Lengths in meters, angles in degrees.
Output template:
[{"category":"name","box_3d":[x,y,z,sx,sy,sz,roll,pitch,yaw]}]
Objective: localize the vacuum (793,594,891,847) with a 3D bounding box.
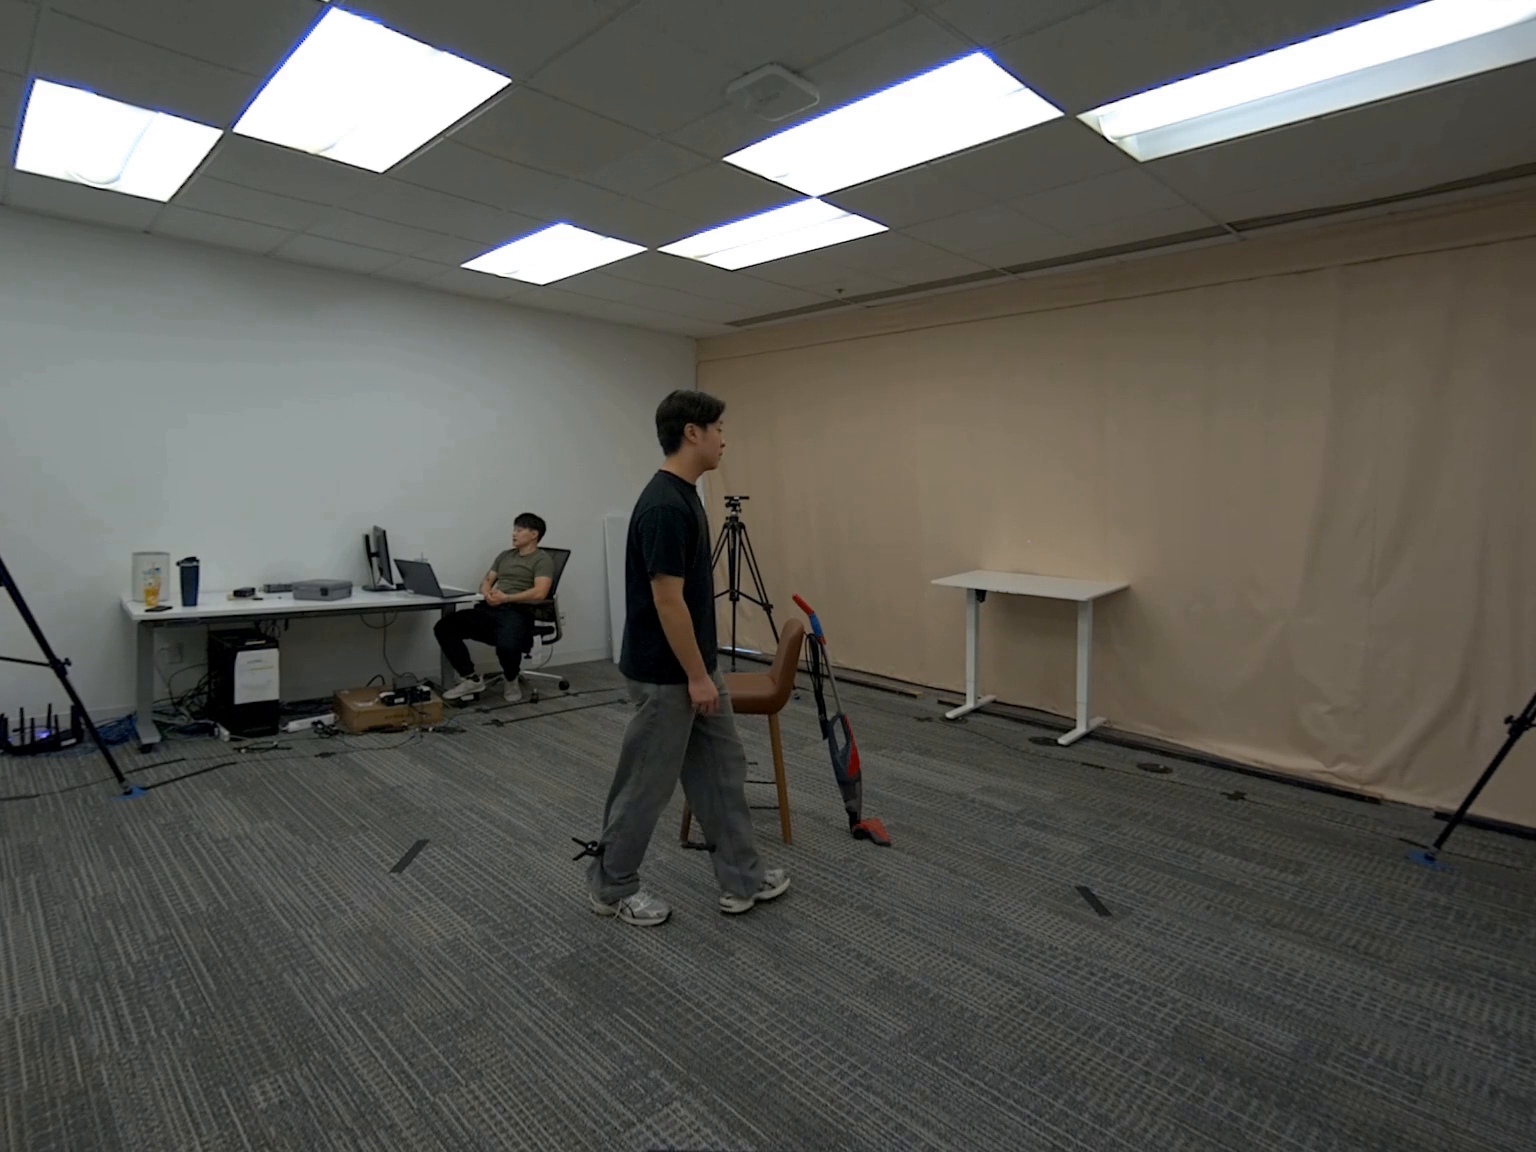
[{"category":"vacuum","box_3d":[0.268,0.577,3.491,0.143,1.045,0.255,-17,5,-11]}]
